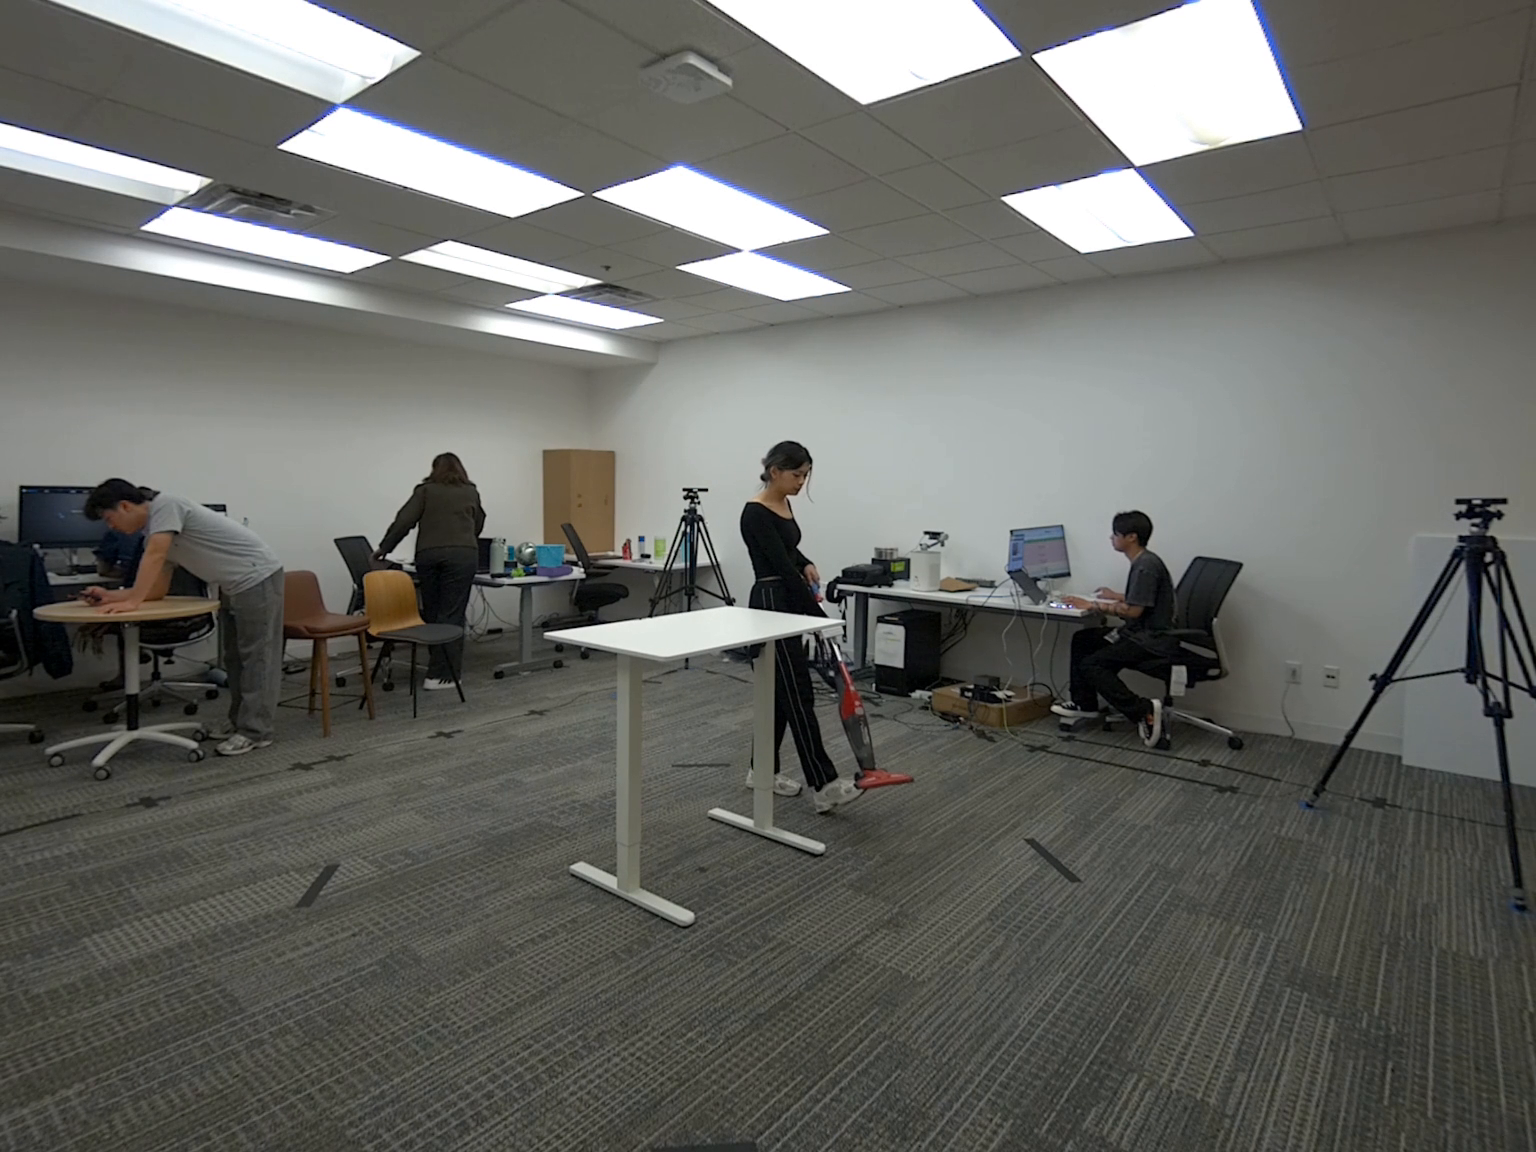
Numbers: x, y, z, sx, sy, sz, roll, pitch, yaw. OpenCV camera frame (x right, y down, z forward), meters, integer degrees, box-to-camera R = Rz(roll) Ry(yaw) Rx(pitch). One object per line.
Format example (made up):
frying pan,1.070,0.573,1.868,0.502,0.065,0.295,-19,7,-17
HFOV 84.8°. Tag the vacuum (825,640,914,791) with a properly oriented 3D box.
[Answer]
vacuum,0.297,0.404,3.675,0.245,1.086,0.143,5,-39,-34
